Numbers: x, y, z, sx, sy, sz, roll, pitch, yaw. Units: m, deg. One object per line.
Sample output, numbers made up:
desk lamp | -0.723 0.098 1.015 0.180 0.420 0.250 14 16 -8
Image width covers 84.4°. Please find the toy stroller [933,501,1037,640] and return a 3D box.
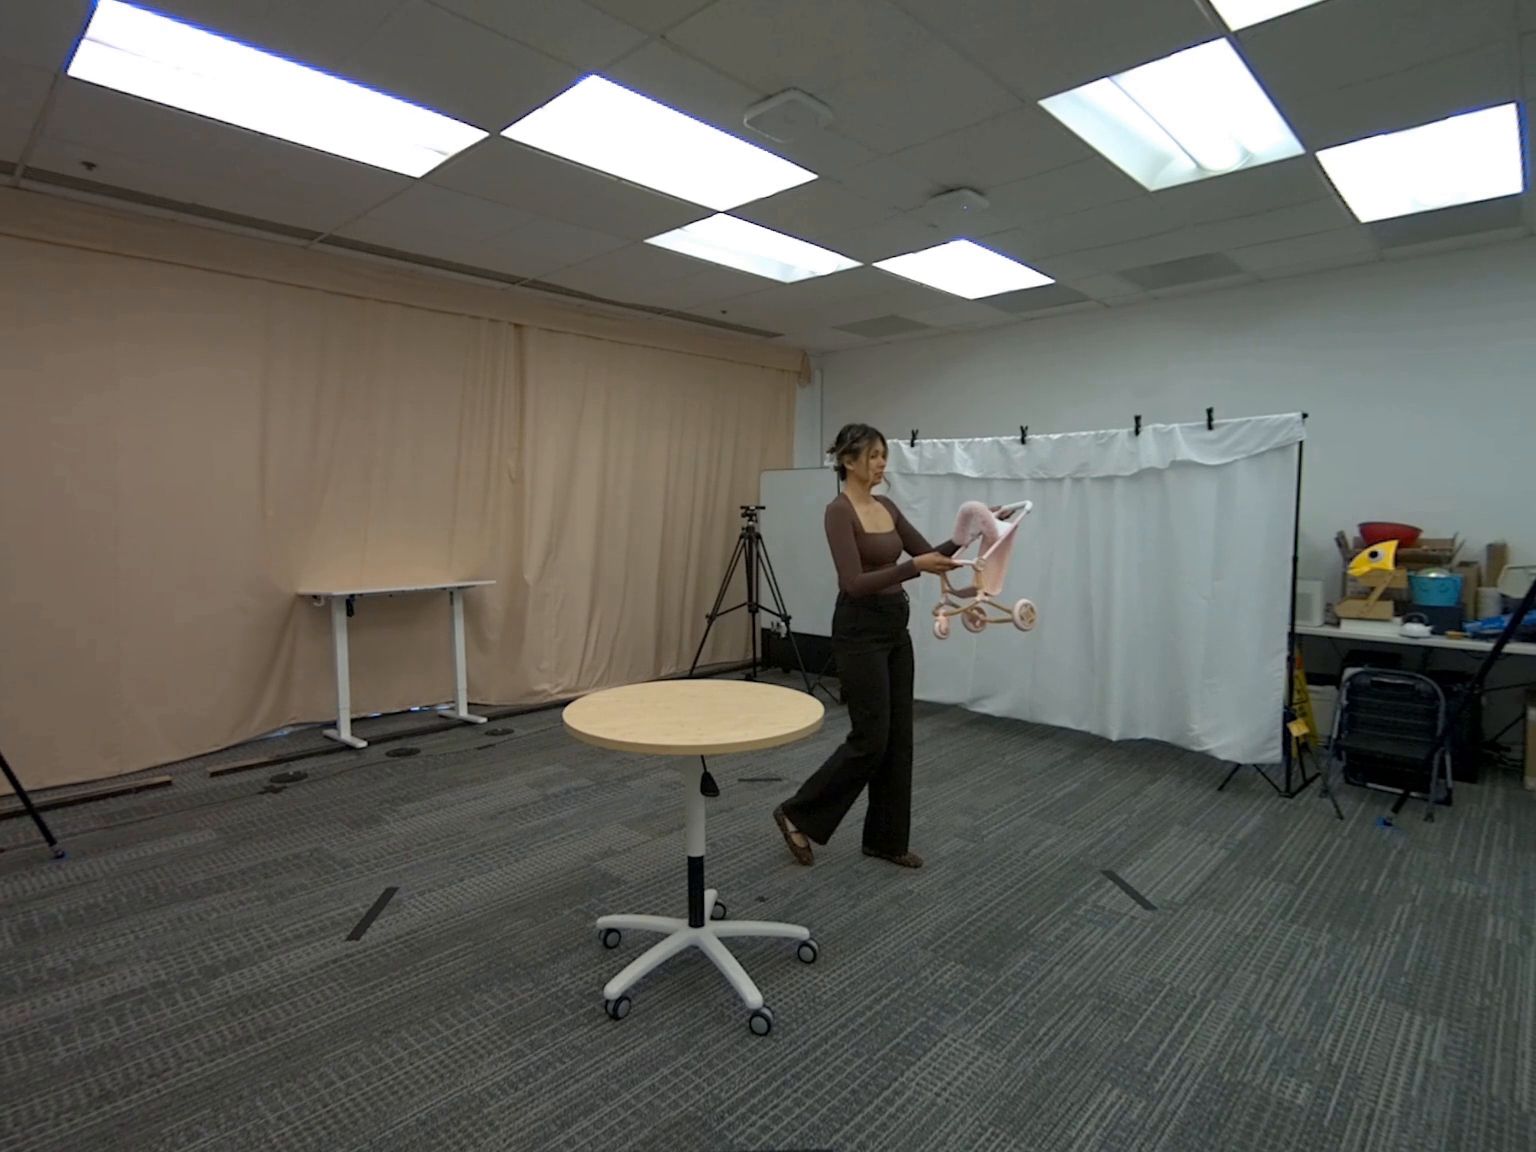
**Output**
toy stroller | 0.731 -0.023 2.976 0.334 0.537 0.286 10 -10 -20
